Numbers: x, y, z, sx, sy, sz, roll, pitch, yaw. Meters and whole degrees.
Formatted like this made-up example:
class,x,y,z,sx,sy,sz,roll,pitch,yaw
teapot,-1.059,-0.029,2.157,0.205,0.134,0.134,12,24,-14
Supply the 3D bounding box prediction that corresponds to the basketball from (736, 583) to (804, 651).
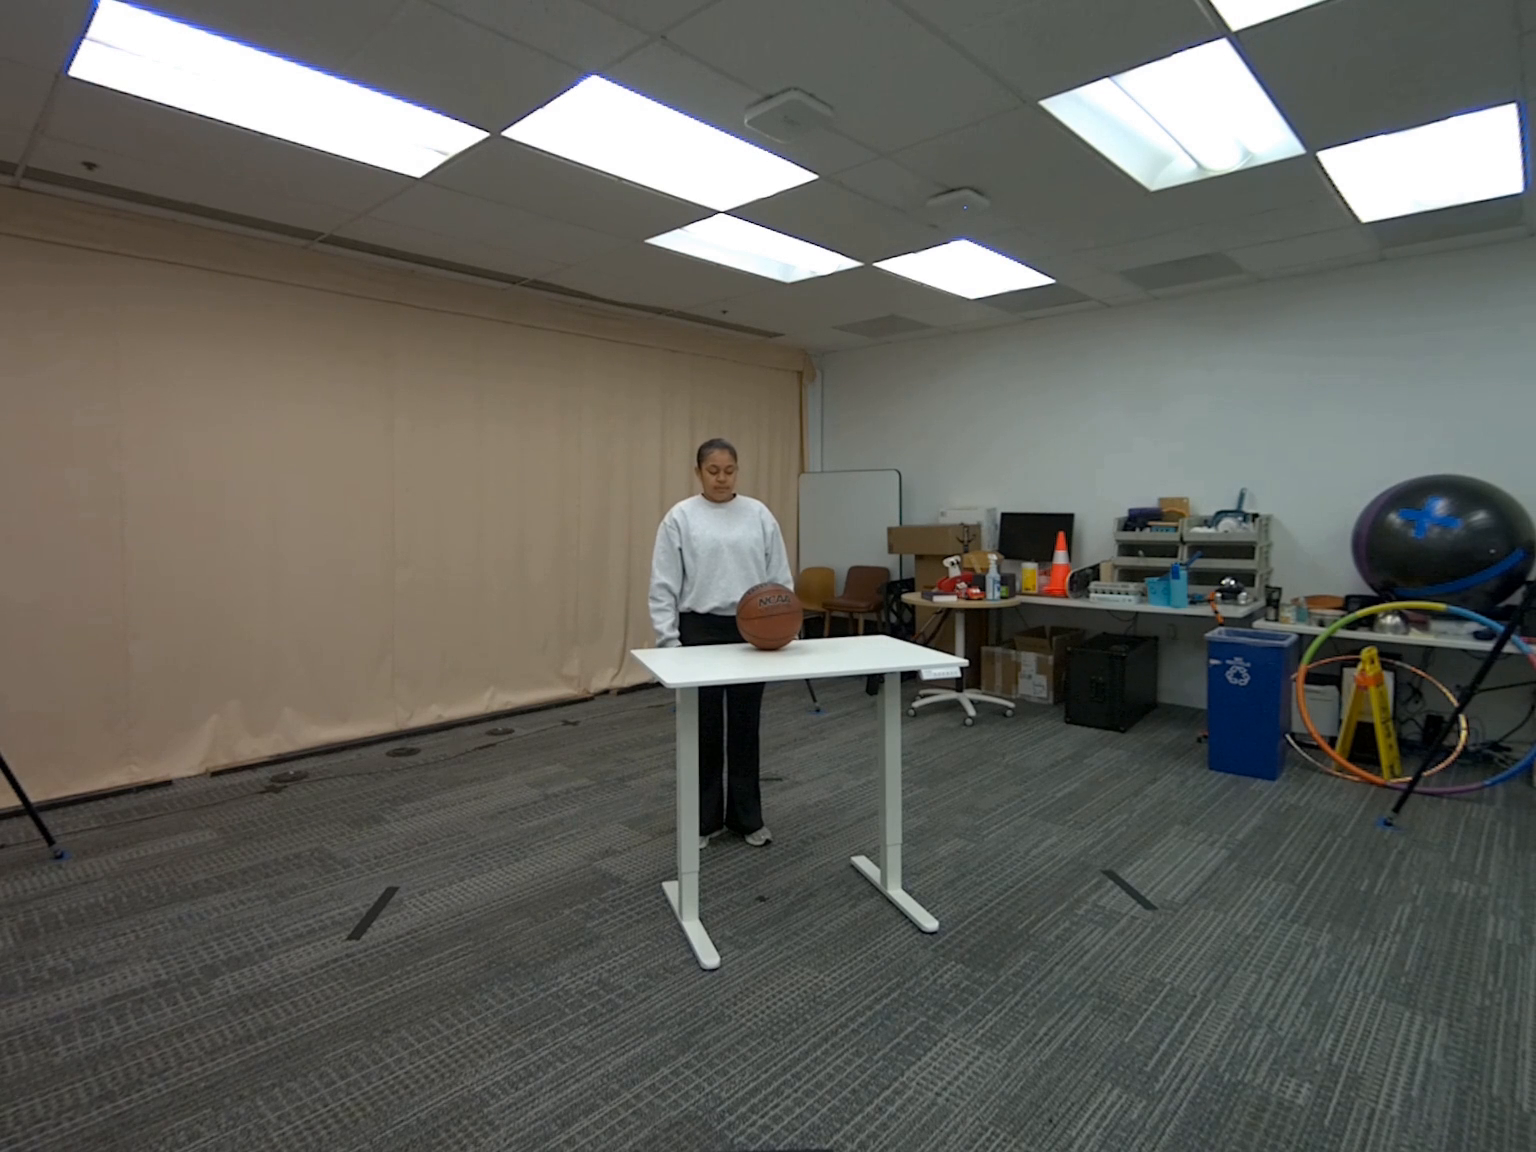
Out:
class,x,y,z,sx,sy,sz,roll,pitch,yaw
basketball,0.004,0.141,3.000,0.236,0.235,0.237,0,4,-2
